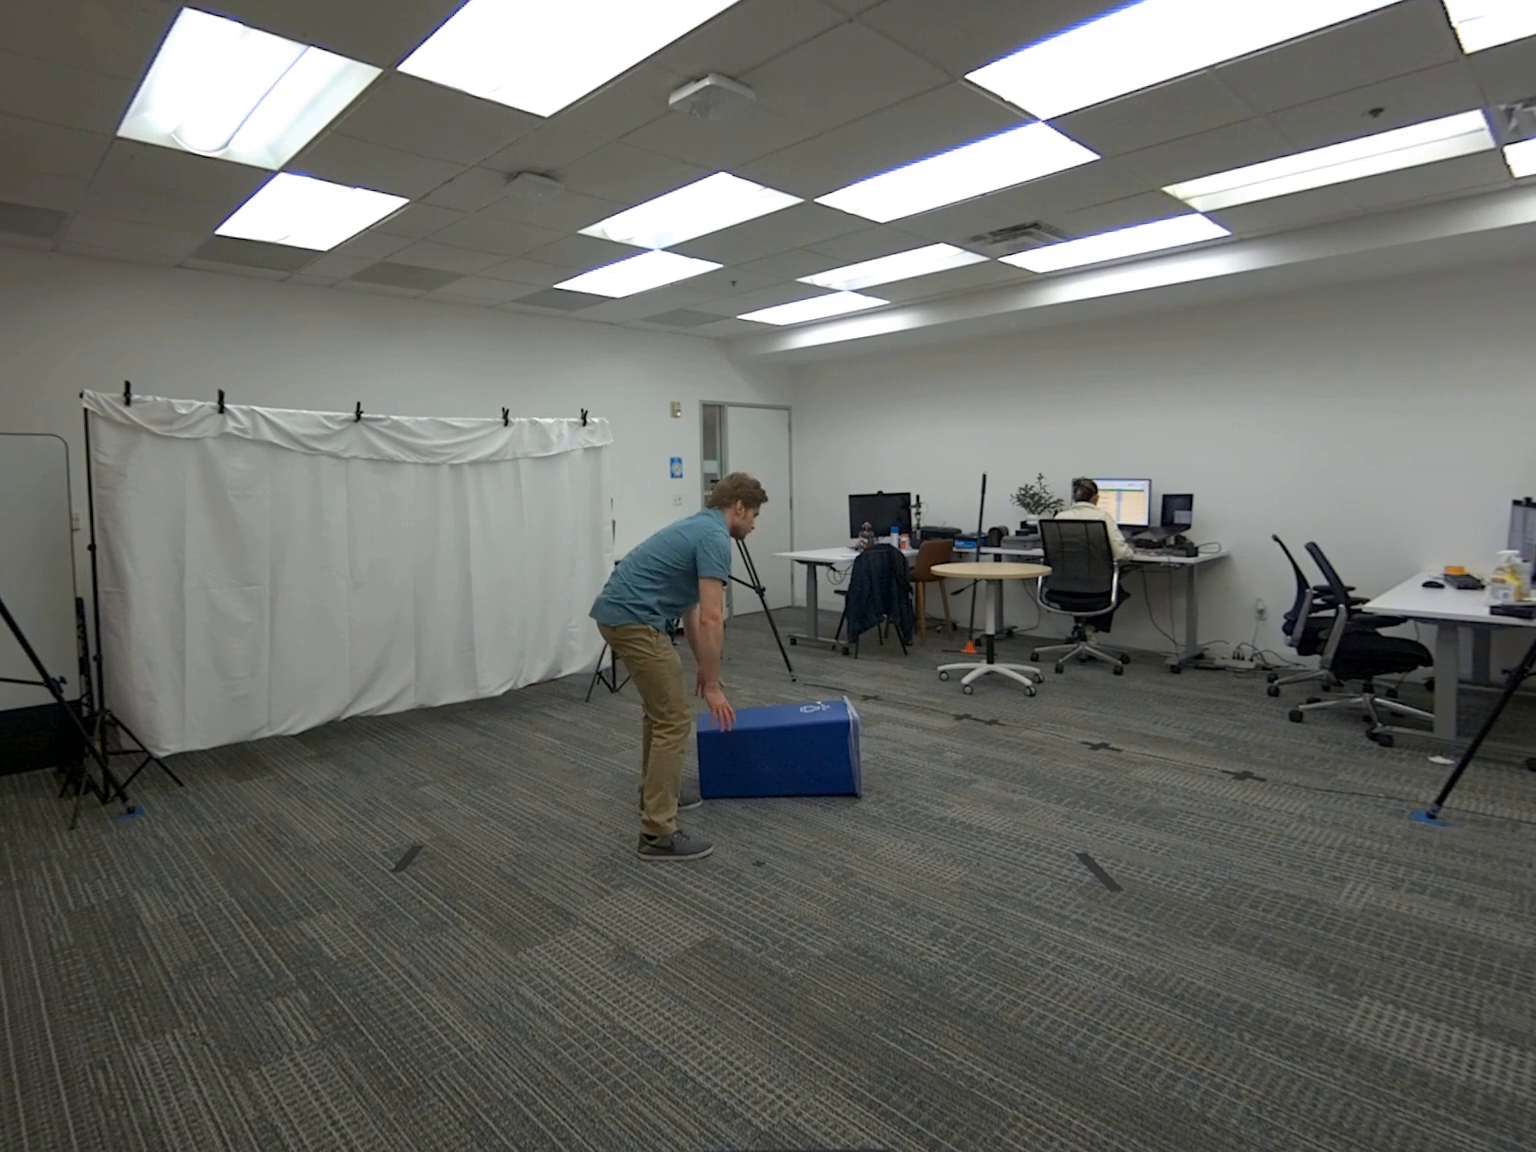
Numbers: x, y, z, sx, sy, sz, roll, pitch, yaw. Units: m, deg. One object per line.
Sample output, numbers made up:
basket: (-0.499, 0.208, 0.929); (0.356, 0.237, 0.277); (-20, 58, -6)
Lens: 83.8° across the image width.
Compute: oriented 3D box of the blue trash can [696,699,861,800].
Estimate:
blue trash can: (0.042, 0.794, 3.885); (0.712, 0.376, 0.376); (-4, 5, -2)
